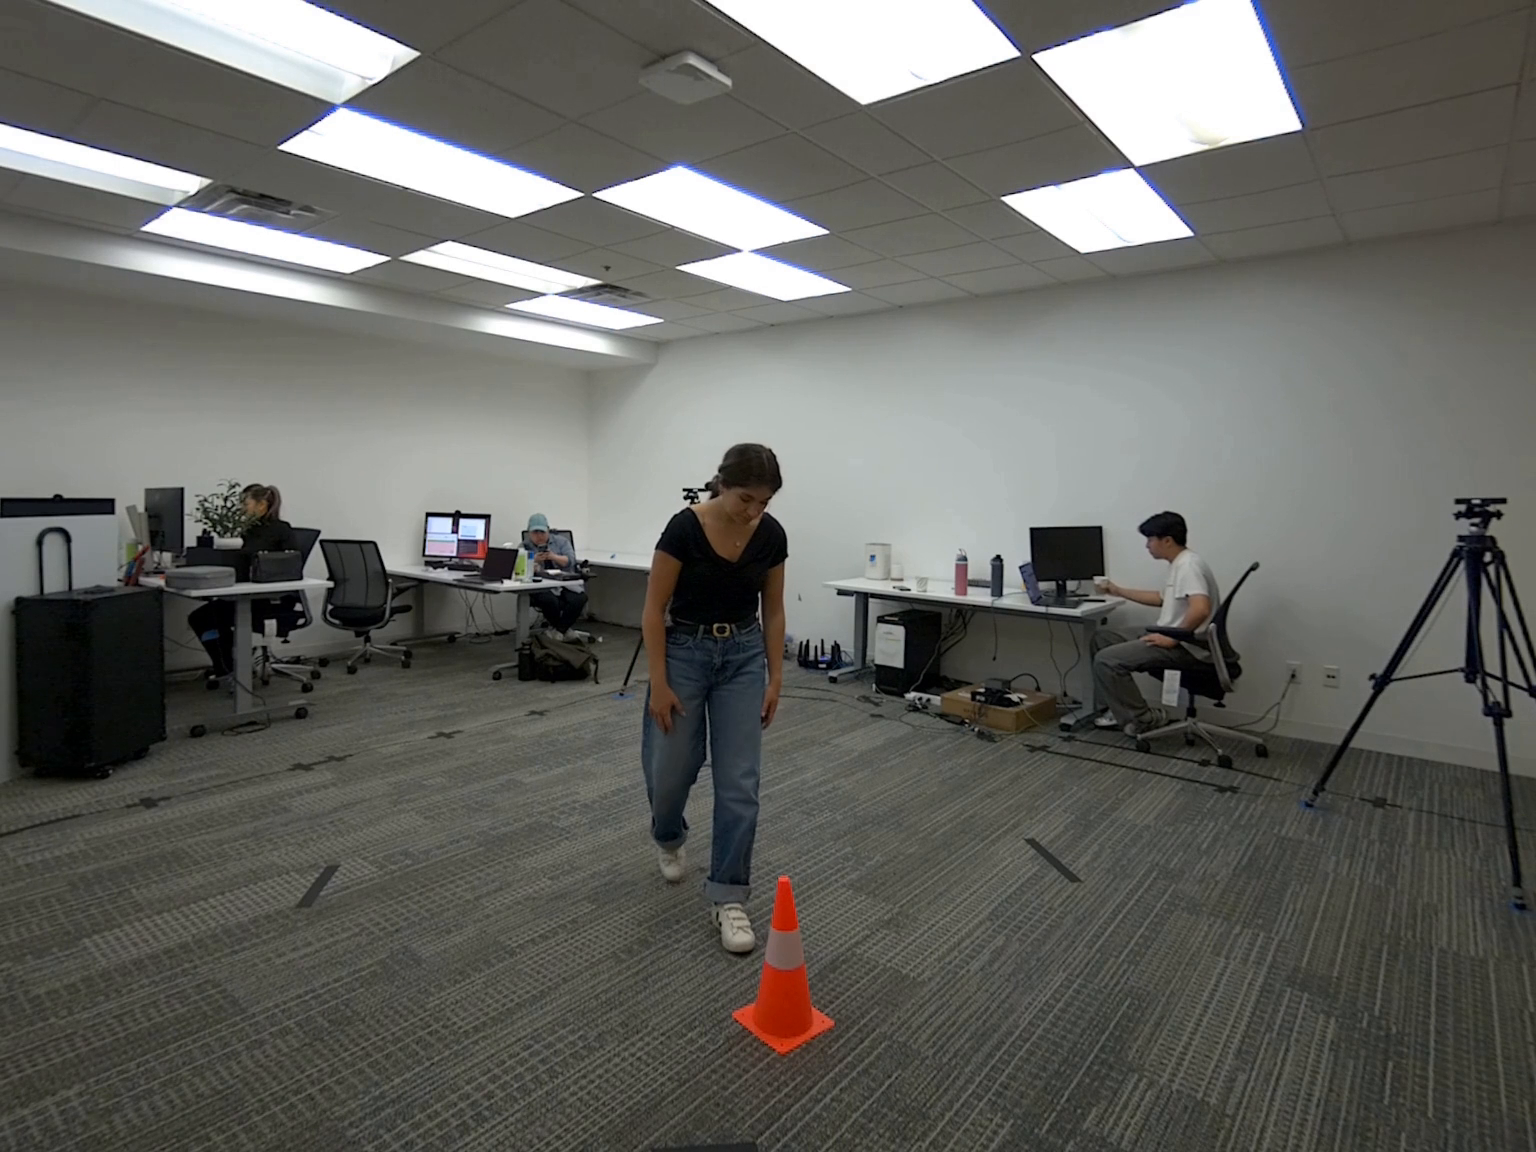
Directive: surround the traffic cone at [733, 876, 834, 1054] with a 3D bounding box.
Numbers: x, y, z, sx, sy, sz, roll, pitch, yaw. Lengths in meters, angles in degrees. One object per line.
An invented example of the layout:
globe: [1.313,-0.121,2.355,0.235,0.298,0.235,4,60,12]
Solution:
traffic cone: [0.045,0.971,2.226,0.199,0.382,0.210,-2,4,-39]
